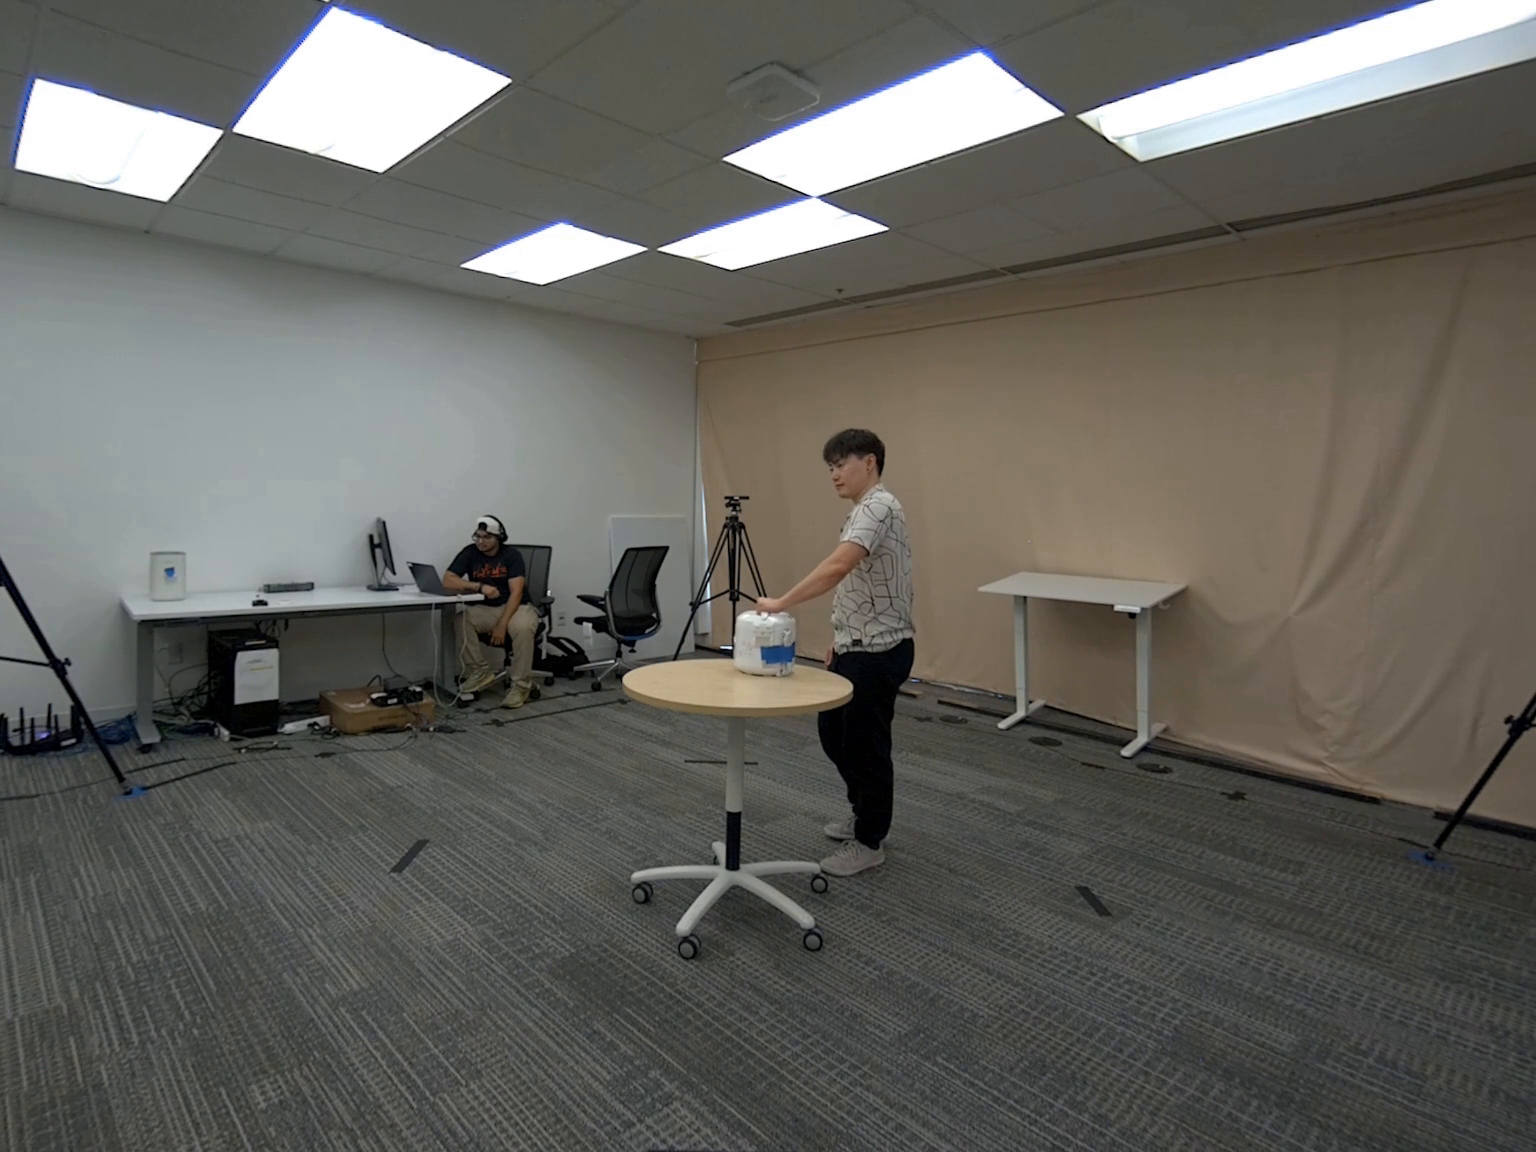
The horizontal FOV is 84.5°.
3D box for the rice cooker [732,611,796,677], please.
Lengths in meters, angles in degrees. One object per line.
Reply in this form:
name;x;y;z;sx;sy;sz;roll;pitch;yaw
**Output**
rice cooker;-0.017;0.223;2.963;0.219;0.232;0.220;3;4;7
